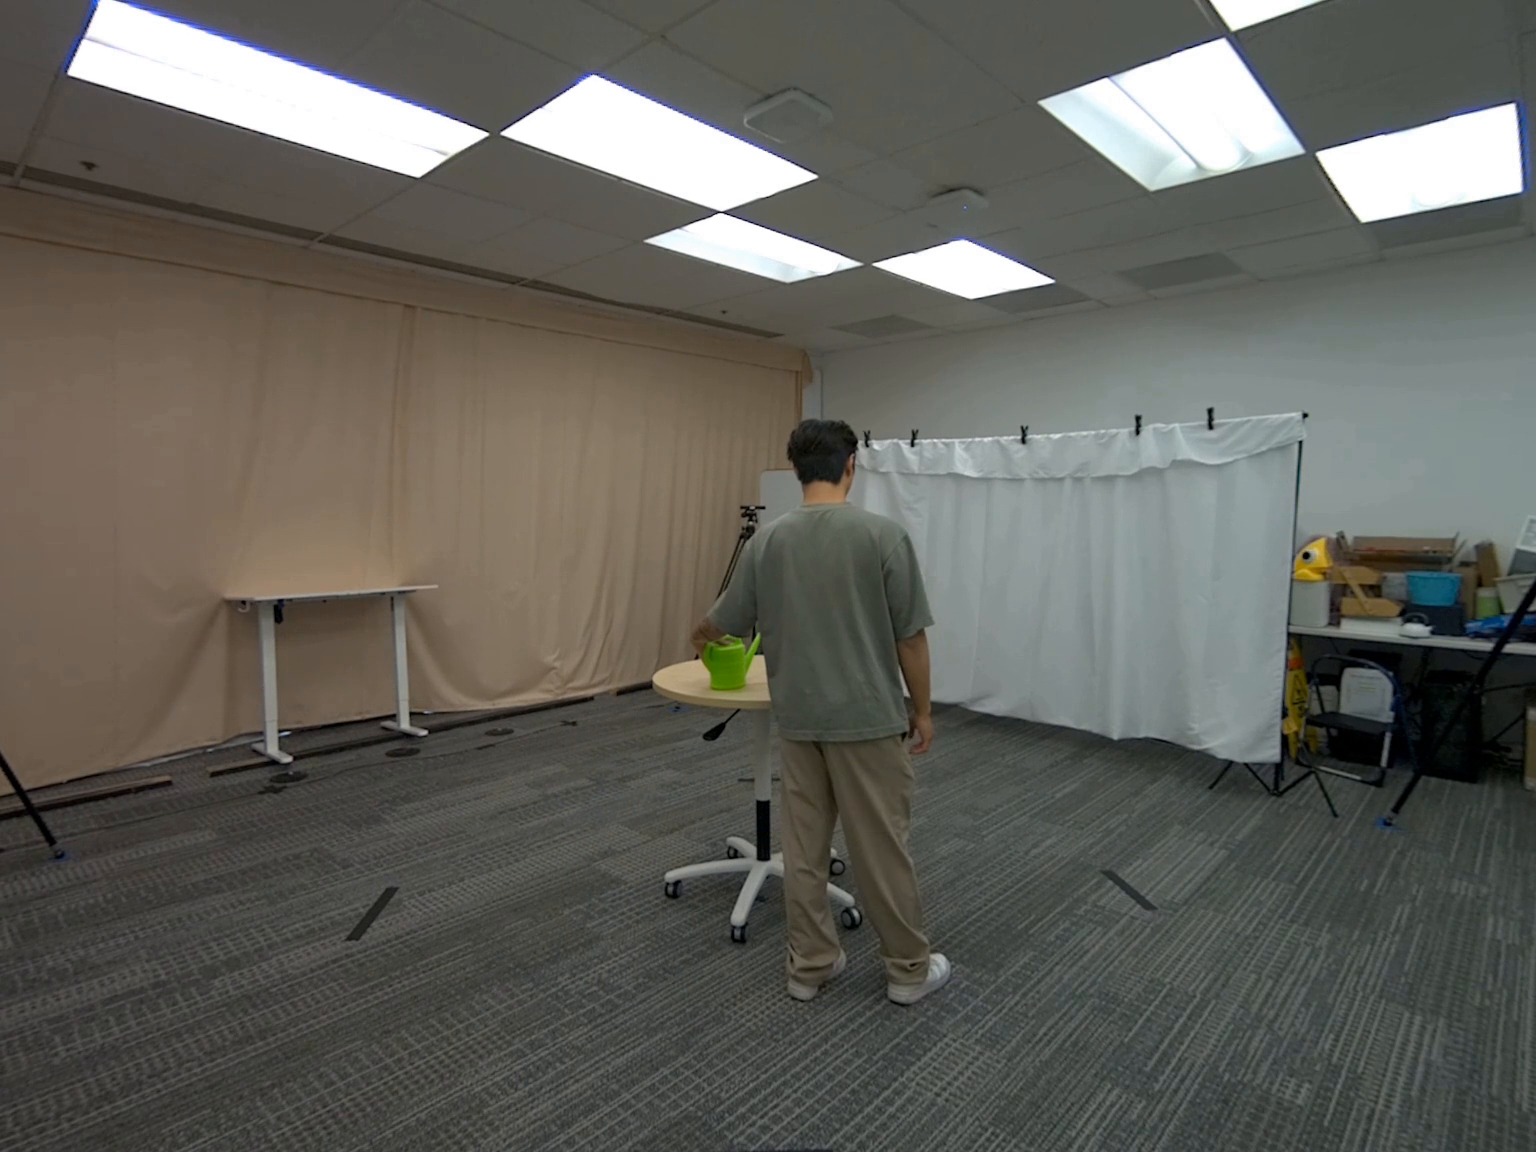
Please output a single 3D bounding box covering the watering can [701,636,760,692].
[{"bbox_3d":[-0.091,0.279,2.778,0.272,0.176,0.101,-3,6,-26],"label":"watering can"}]
